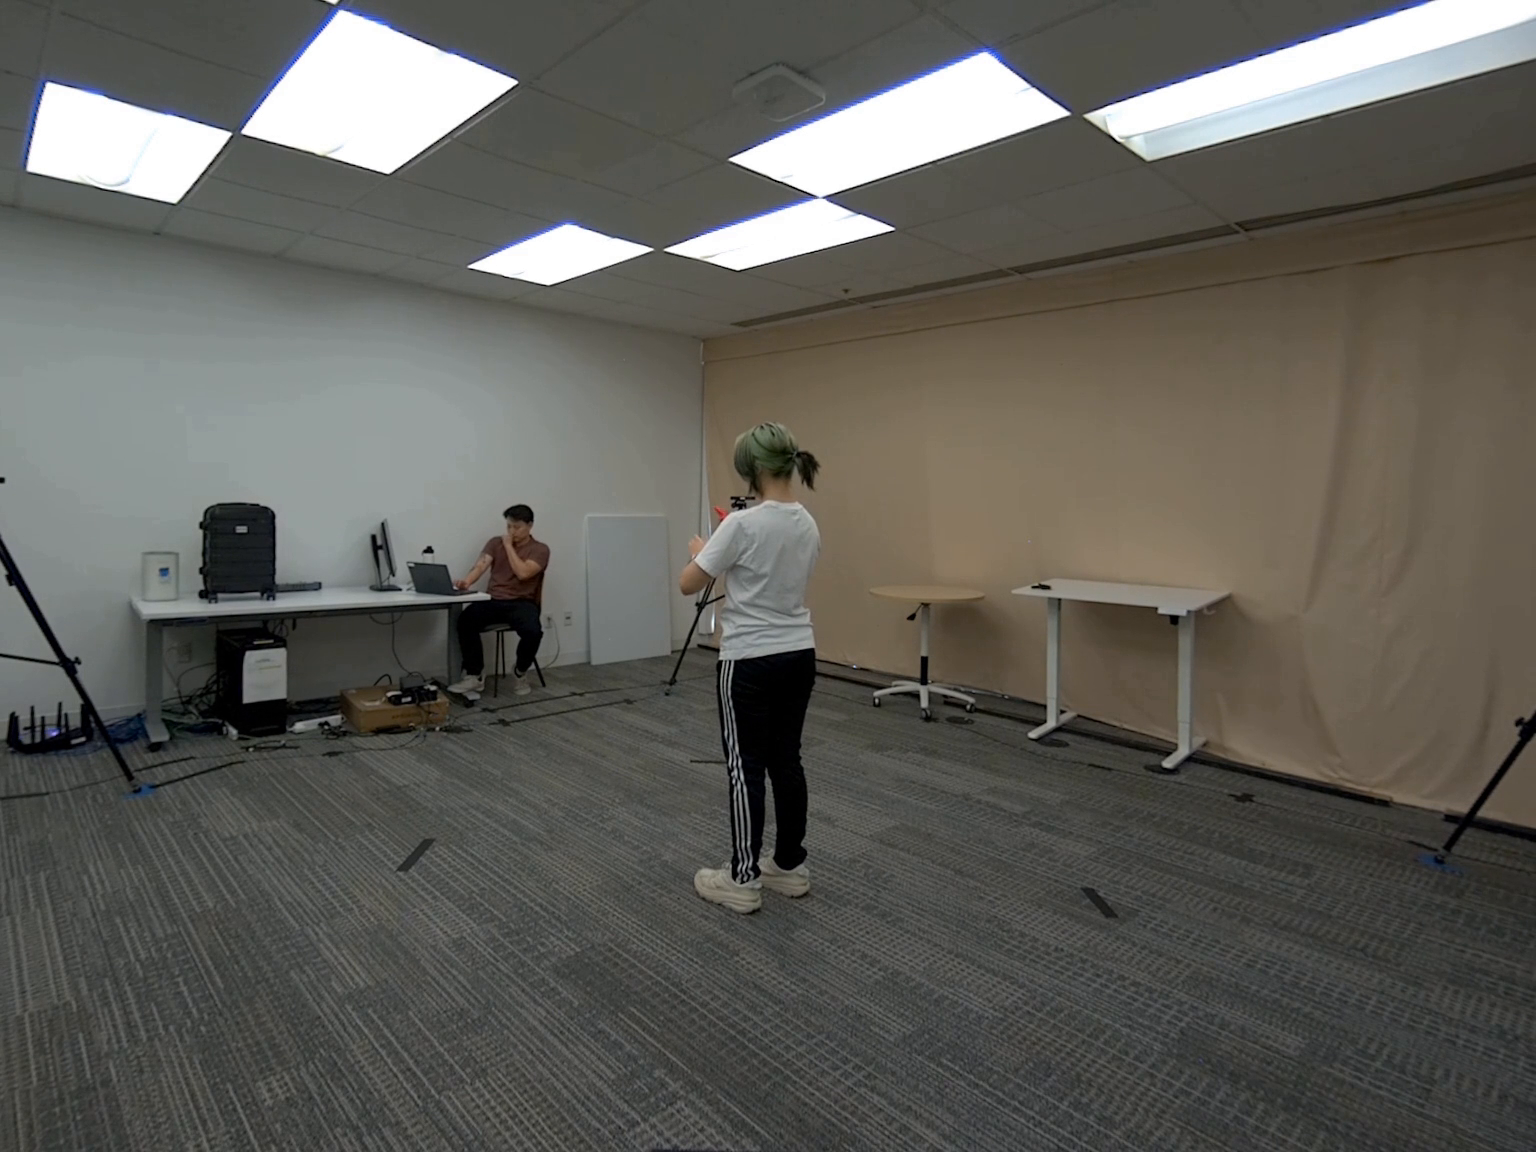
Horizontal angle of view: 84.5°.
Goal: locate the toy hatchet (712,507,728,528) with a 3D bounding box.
[{"bbox_3d":[-0.169,-0.126,3.206,0.127,0.275,0.030,29,-39,-36],"label":"toy hatchet"}]
